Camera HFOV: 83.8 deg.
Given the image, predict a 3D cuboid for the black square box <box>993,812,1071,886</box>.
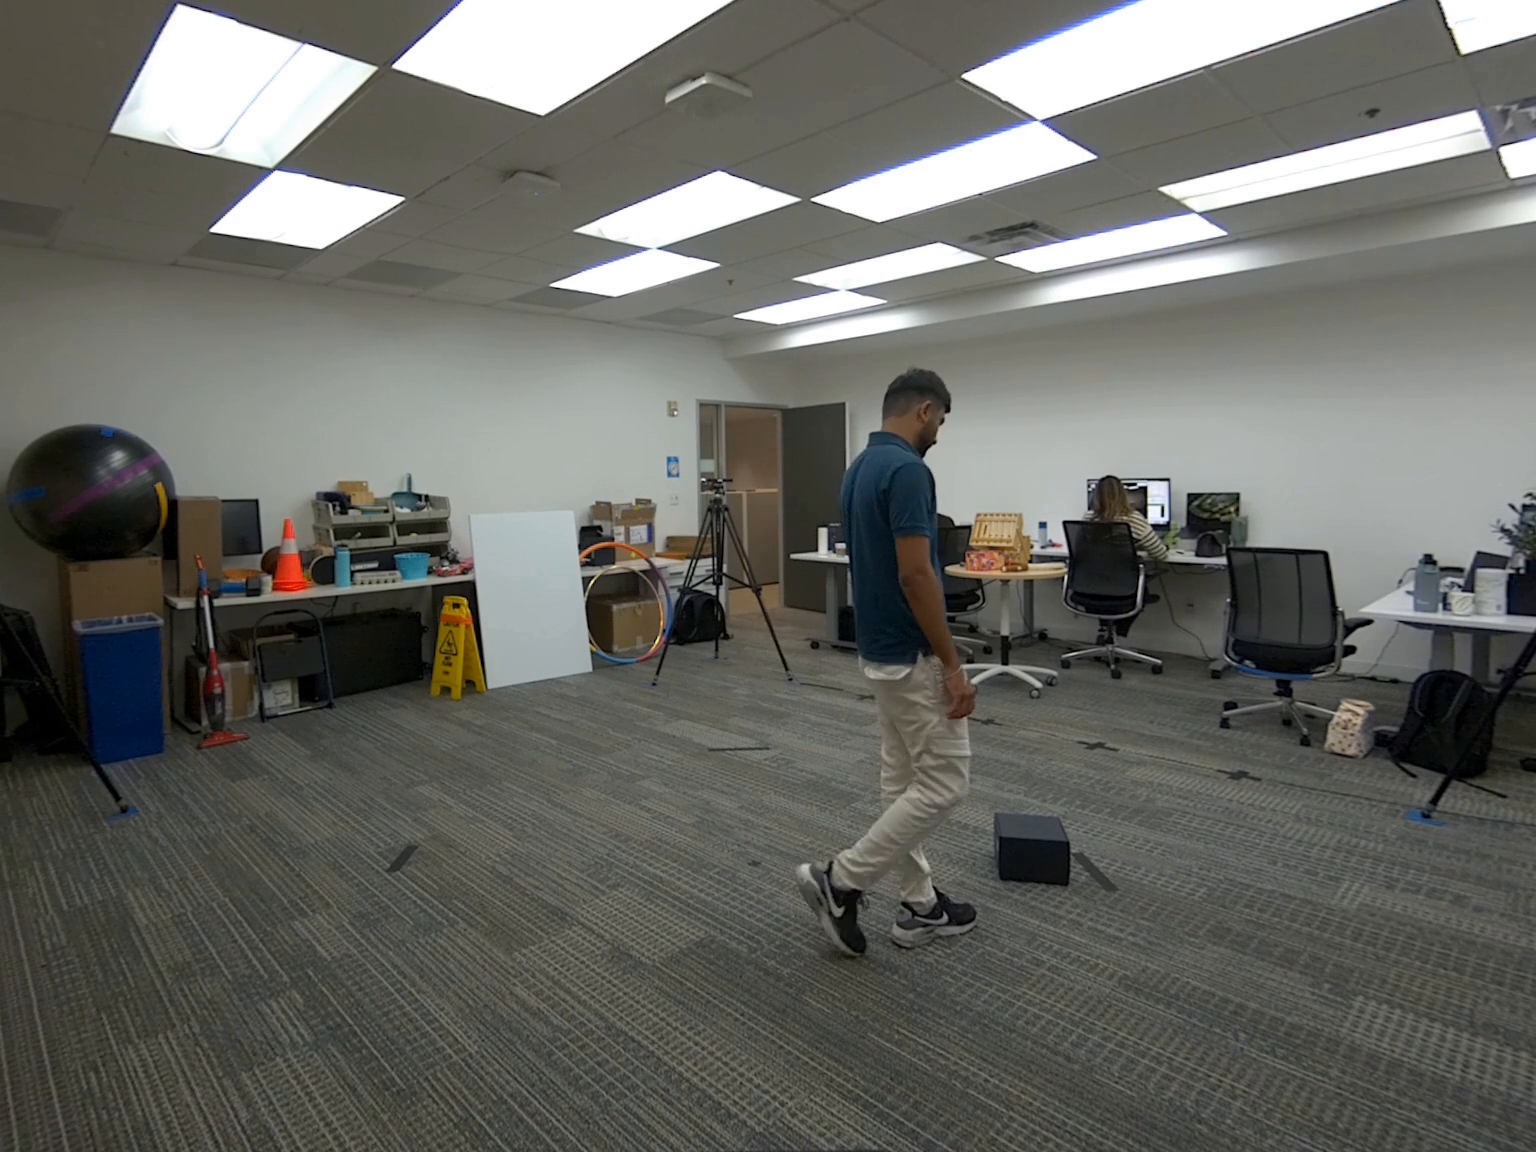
[{"bbox_3d":[0.930,0.954,3.014,0.230,0.155,0.215,0,6,11],"label":"black square box"}]
